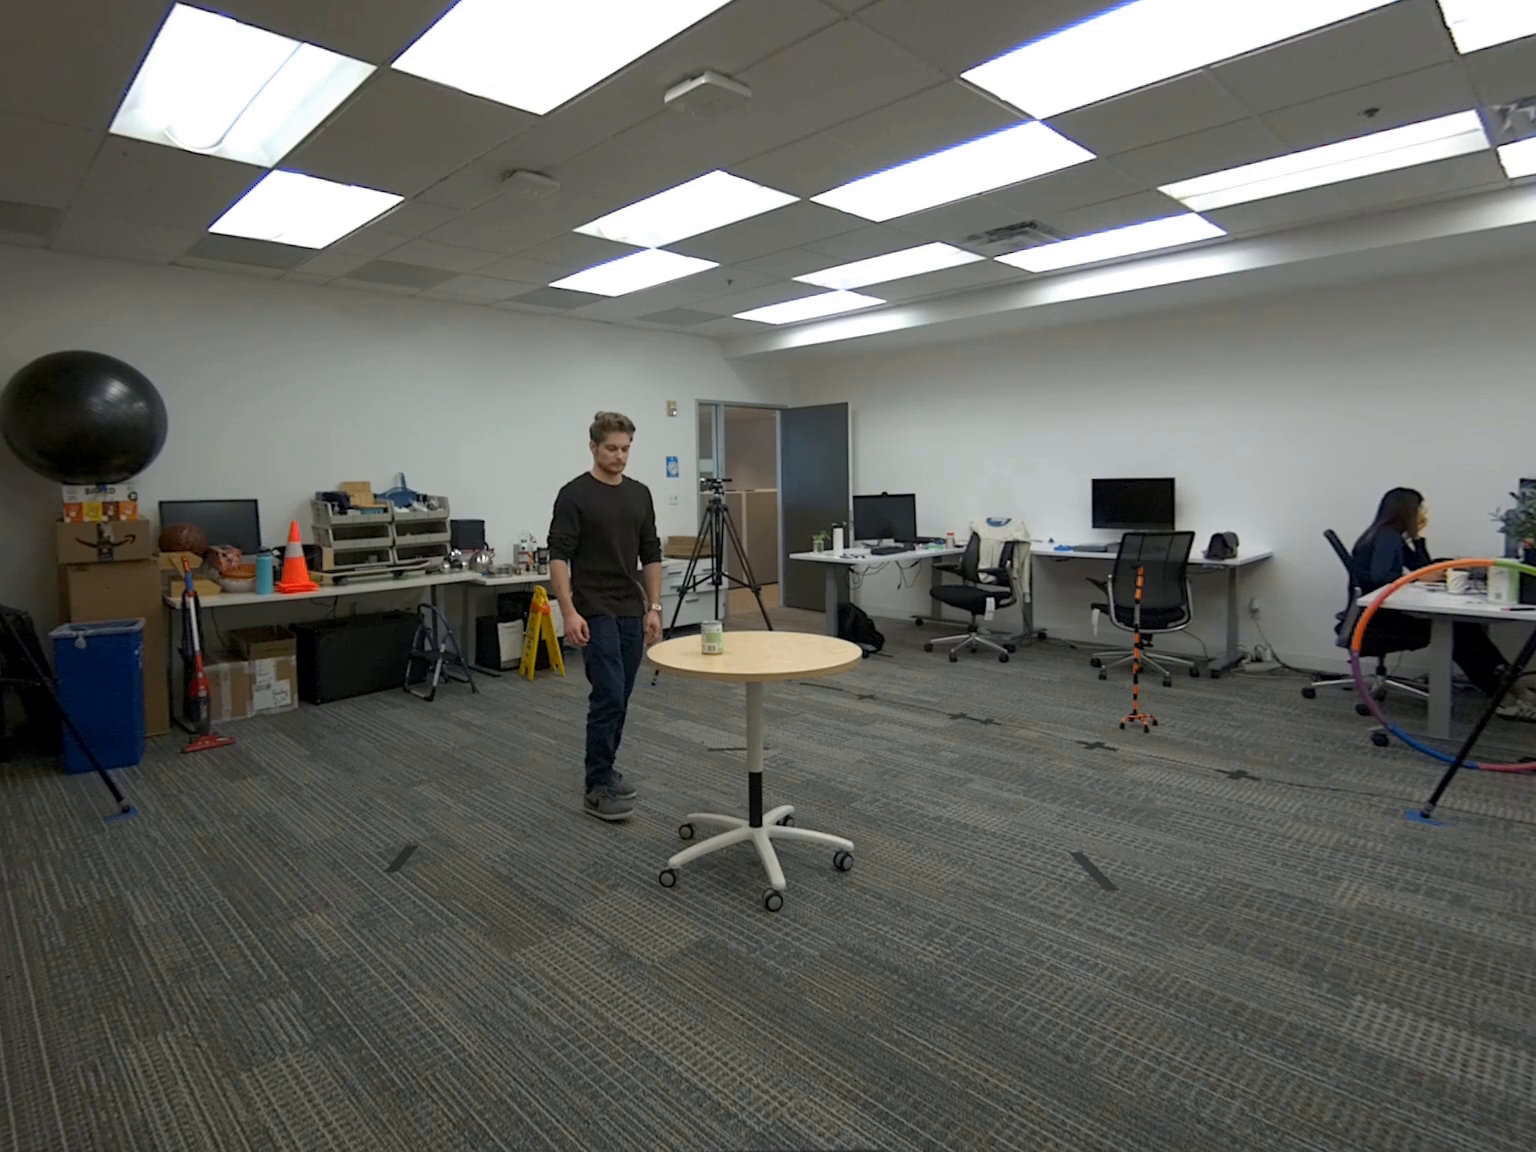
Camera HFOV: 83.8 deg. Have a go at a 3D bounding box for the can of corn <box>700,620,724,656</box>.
[{"bbox_3d":[-0.196,0.219,2.998,0.074,0.110,0.075,-2,6,-1],"label":"can of corn"}]
